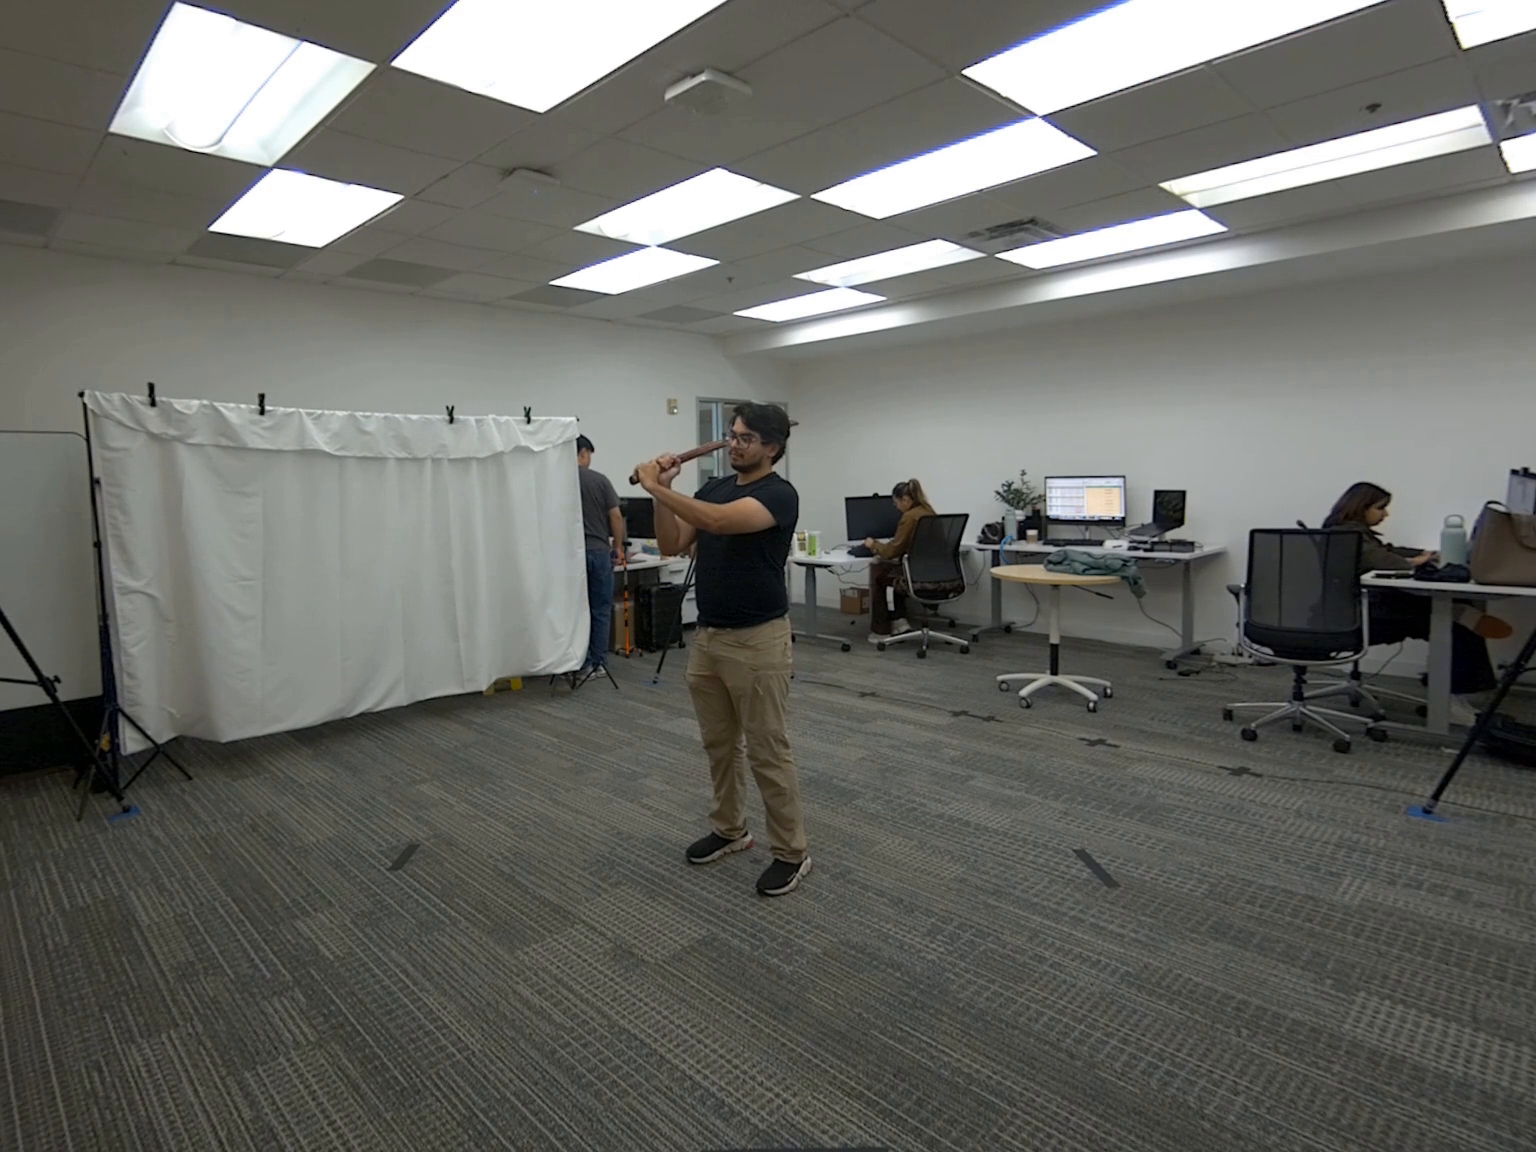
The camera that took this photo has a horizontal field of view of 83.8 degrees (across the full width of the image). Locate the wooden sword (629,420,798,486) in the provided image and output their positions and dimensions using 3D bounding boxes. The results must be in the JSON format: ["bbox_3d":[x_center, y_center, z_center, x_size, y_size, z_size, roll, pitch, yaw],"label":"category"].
[{"bbox_3d":[-0.157,-0.495,3.202,0.052,0.024,1.010,-25,2,41],"label":"wooden sword"}]
